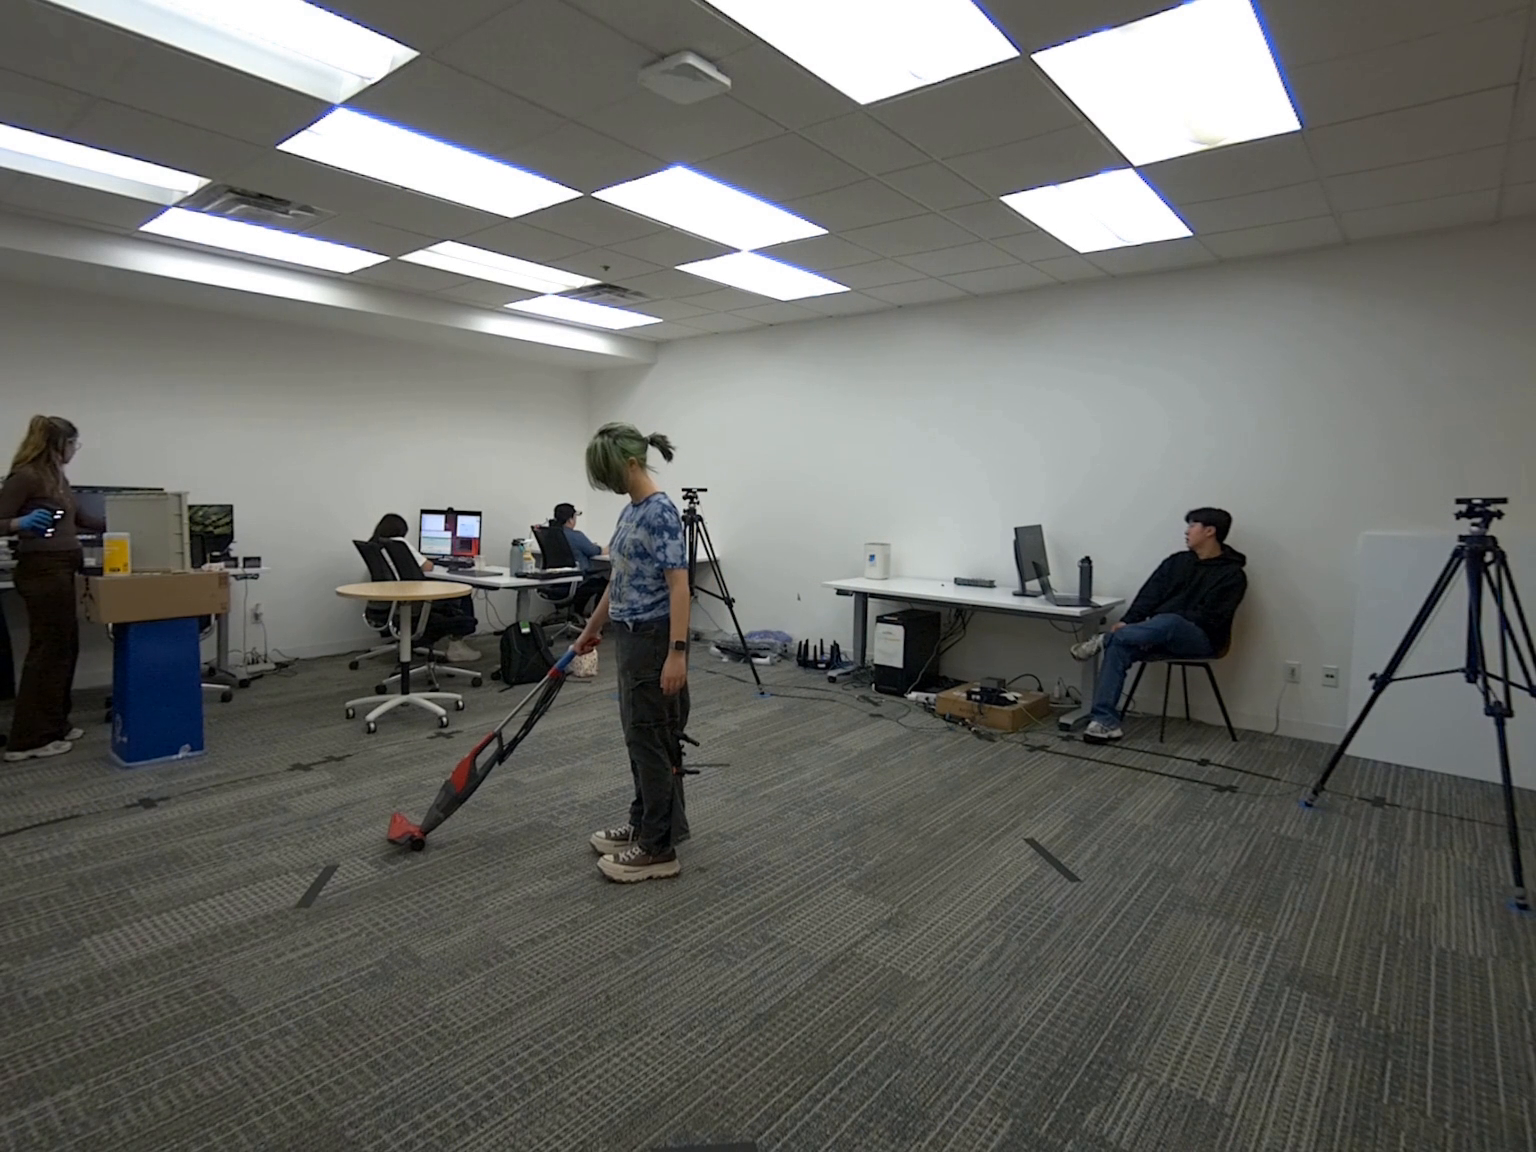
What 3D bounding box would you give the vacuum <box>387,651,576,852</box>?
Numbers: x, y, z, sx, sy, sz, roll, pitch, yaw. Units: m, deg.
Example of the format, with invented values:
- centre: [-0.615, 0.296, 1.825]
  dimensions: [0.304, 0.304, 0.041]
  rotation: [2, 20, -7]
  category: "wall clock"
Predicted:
- centre: [-1.049, 0.639, 3.348]
  dimensions: [1.048, 0.141, 0.258]
  rotation: [-45, 16, -9]
  category: "vacuum"
